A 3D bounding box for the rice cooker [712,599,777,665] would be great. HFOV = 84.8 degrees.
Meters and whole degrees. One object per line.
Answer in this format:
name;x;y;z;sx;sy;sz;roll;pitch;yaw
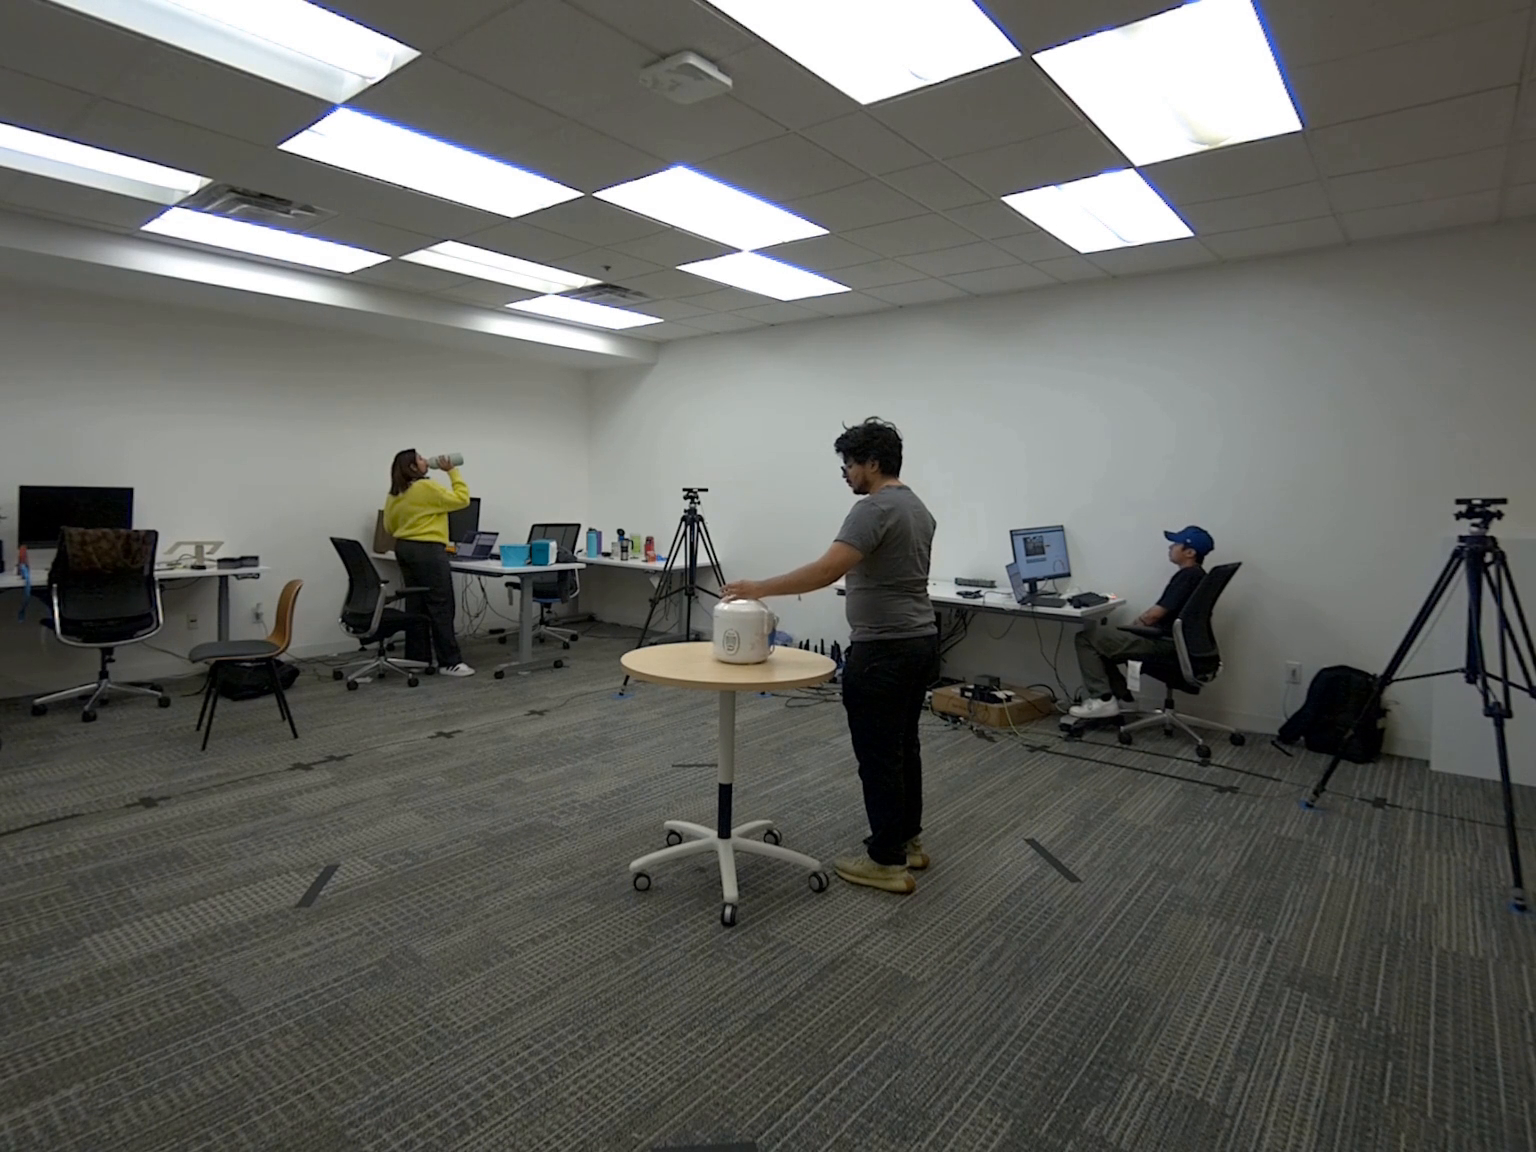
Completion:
rice cooker;-0.099;0.181;3.034;0.225;0.232;0.213;2;2;21
